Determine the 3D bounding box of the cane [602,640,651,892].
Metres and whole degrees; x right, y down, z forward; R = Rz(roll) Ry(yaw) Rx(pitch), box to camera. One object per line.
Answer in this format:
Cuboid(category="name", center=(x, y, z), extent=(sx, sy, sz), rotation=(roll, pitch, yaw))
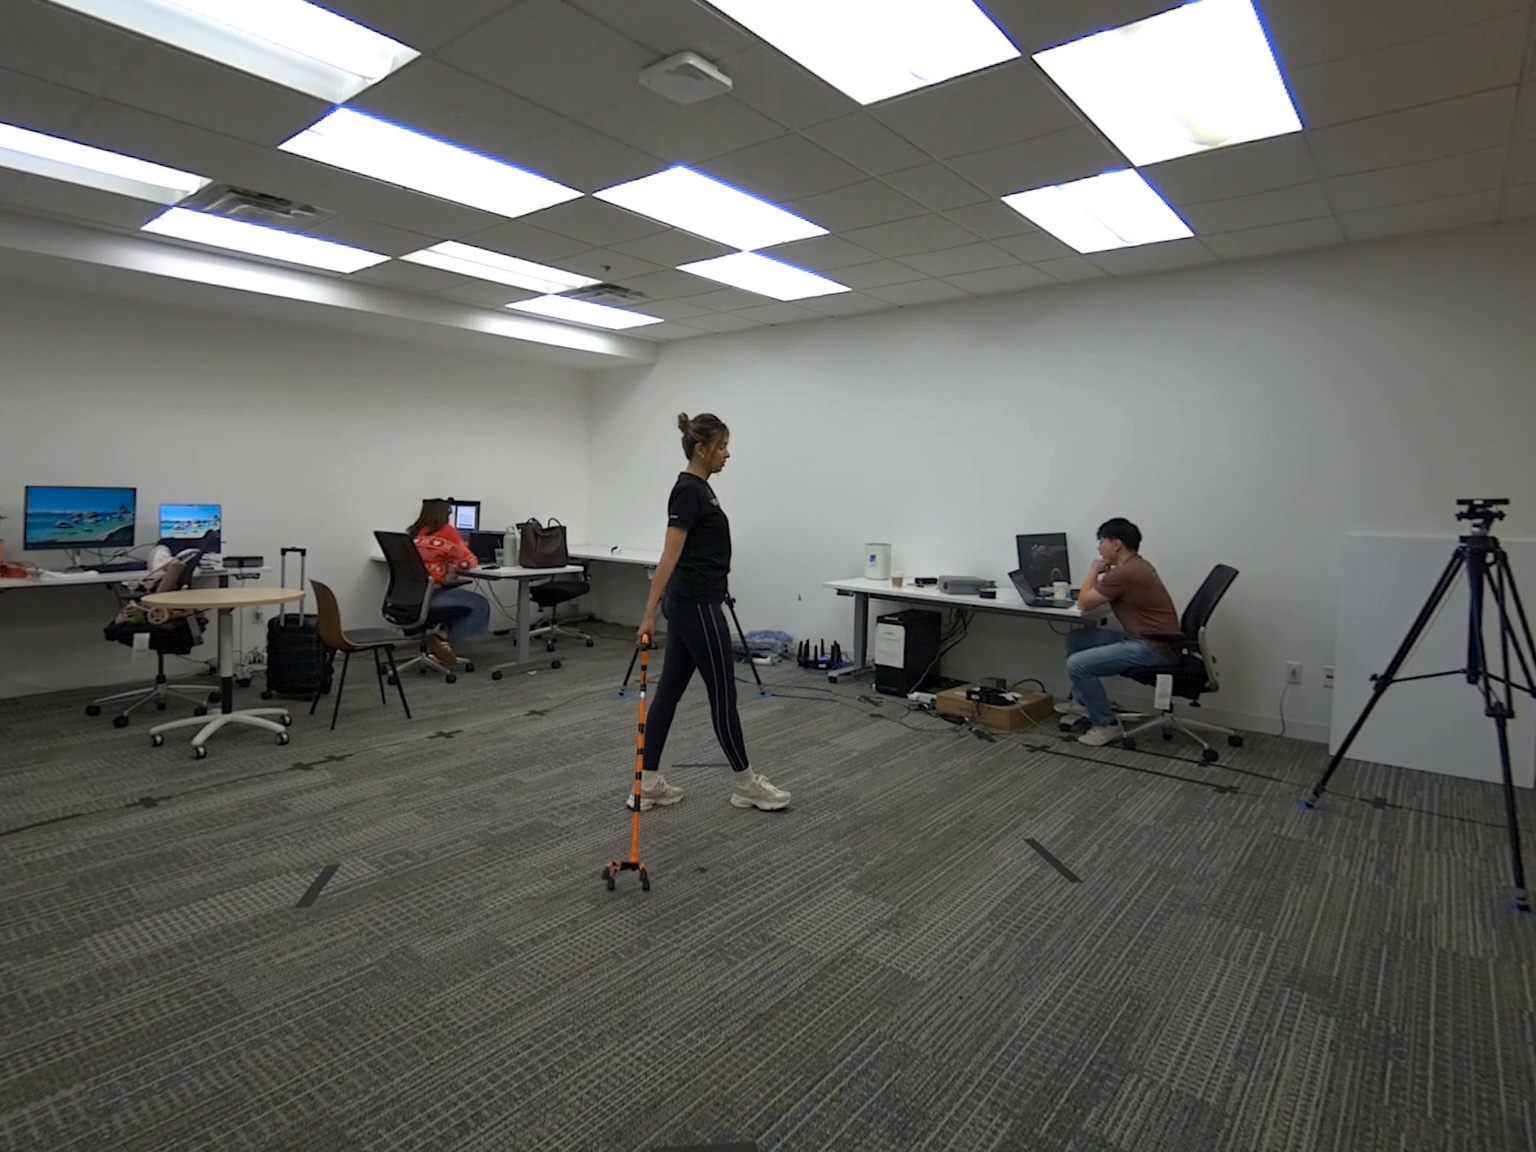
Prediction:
Cuboid(category="cane", center=(-0.489, 0.637, 3.088), extent=(0.151, 0.930, 0.202), rotation=(2, -30, -5))
